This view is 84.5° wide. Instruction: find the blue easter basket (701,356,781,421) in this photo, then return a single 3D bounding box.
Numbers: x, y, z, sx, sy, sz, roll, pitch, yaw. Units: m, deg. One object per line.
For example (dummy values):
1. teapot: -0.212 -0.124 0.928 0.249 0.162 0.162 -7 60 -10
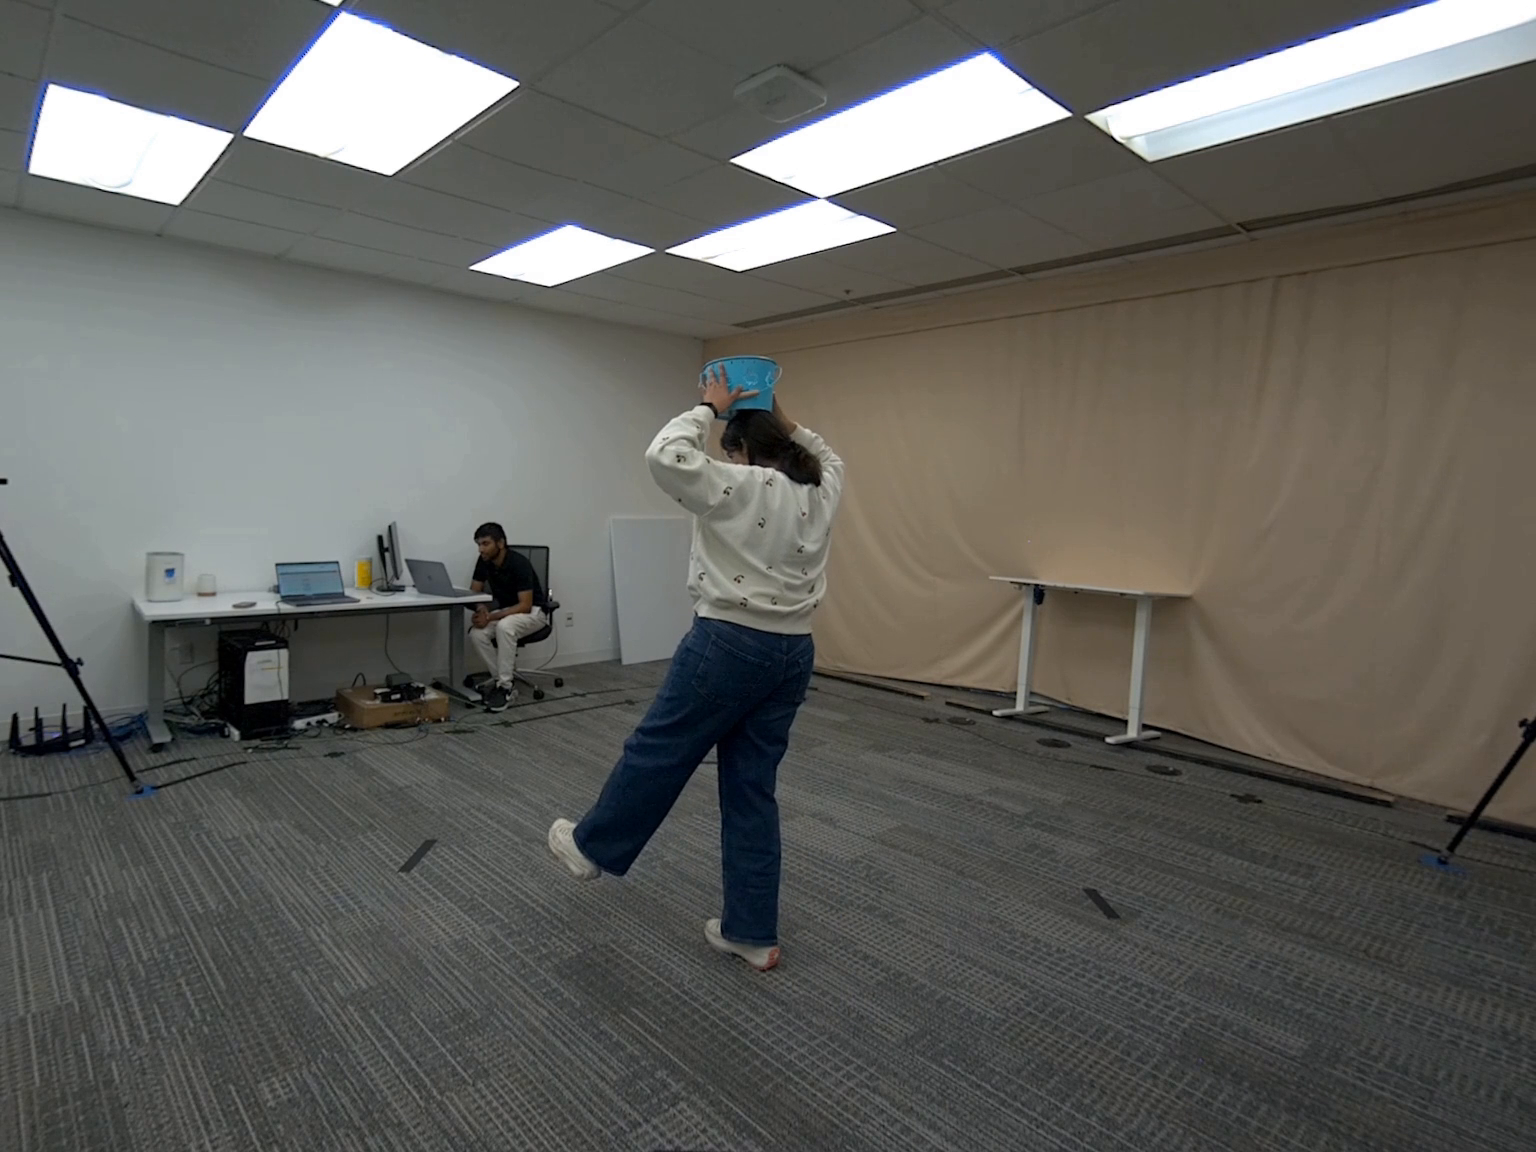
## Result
1. blue easter basket: -0.092 -0.572 2.596 0.243 0.156 0.243 -2 -2 -1
